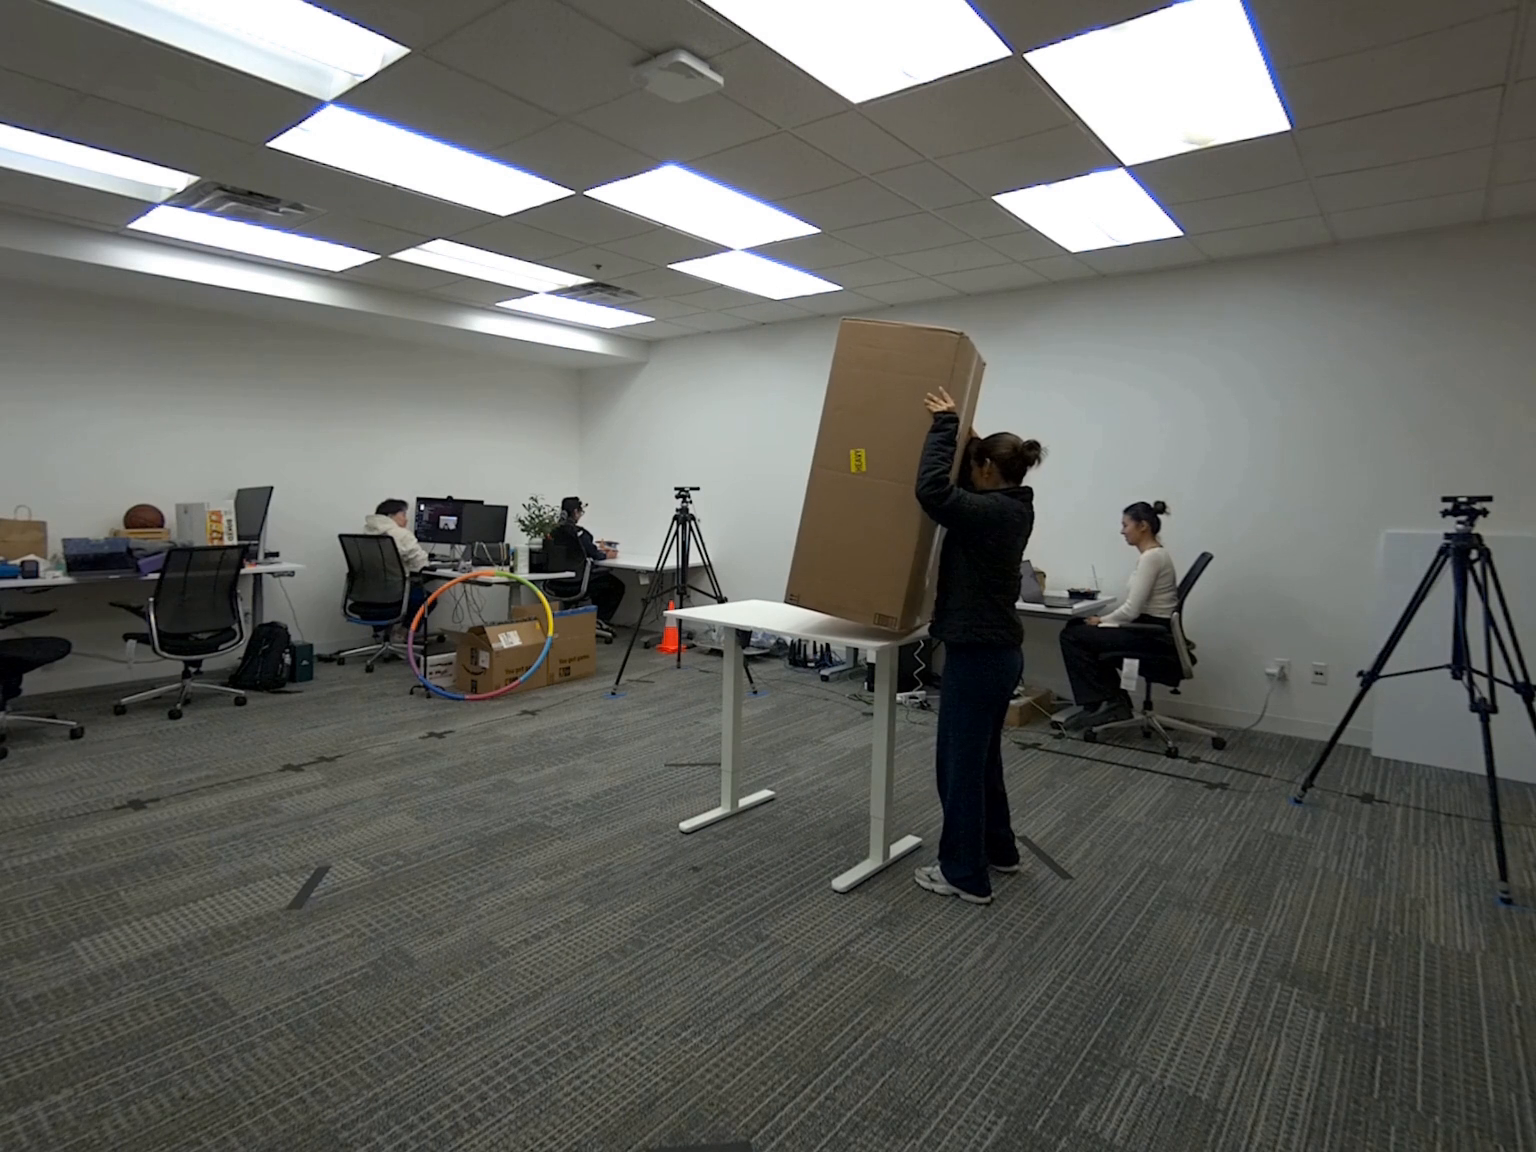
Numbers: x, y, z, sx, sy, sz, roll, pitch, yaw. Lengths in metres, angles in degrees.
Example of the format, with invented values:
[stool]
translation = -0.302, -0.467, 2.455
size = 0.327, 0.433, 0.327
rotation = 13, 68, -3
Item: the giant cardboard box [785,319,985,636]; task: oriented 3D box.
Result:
[giant cardboard box]
translation = 0.459, -0.363, 3.157
size = 0.460, 1.023, 0.569
rotation = 13, 6, 24
